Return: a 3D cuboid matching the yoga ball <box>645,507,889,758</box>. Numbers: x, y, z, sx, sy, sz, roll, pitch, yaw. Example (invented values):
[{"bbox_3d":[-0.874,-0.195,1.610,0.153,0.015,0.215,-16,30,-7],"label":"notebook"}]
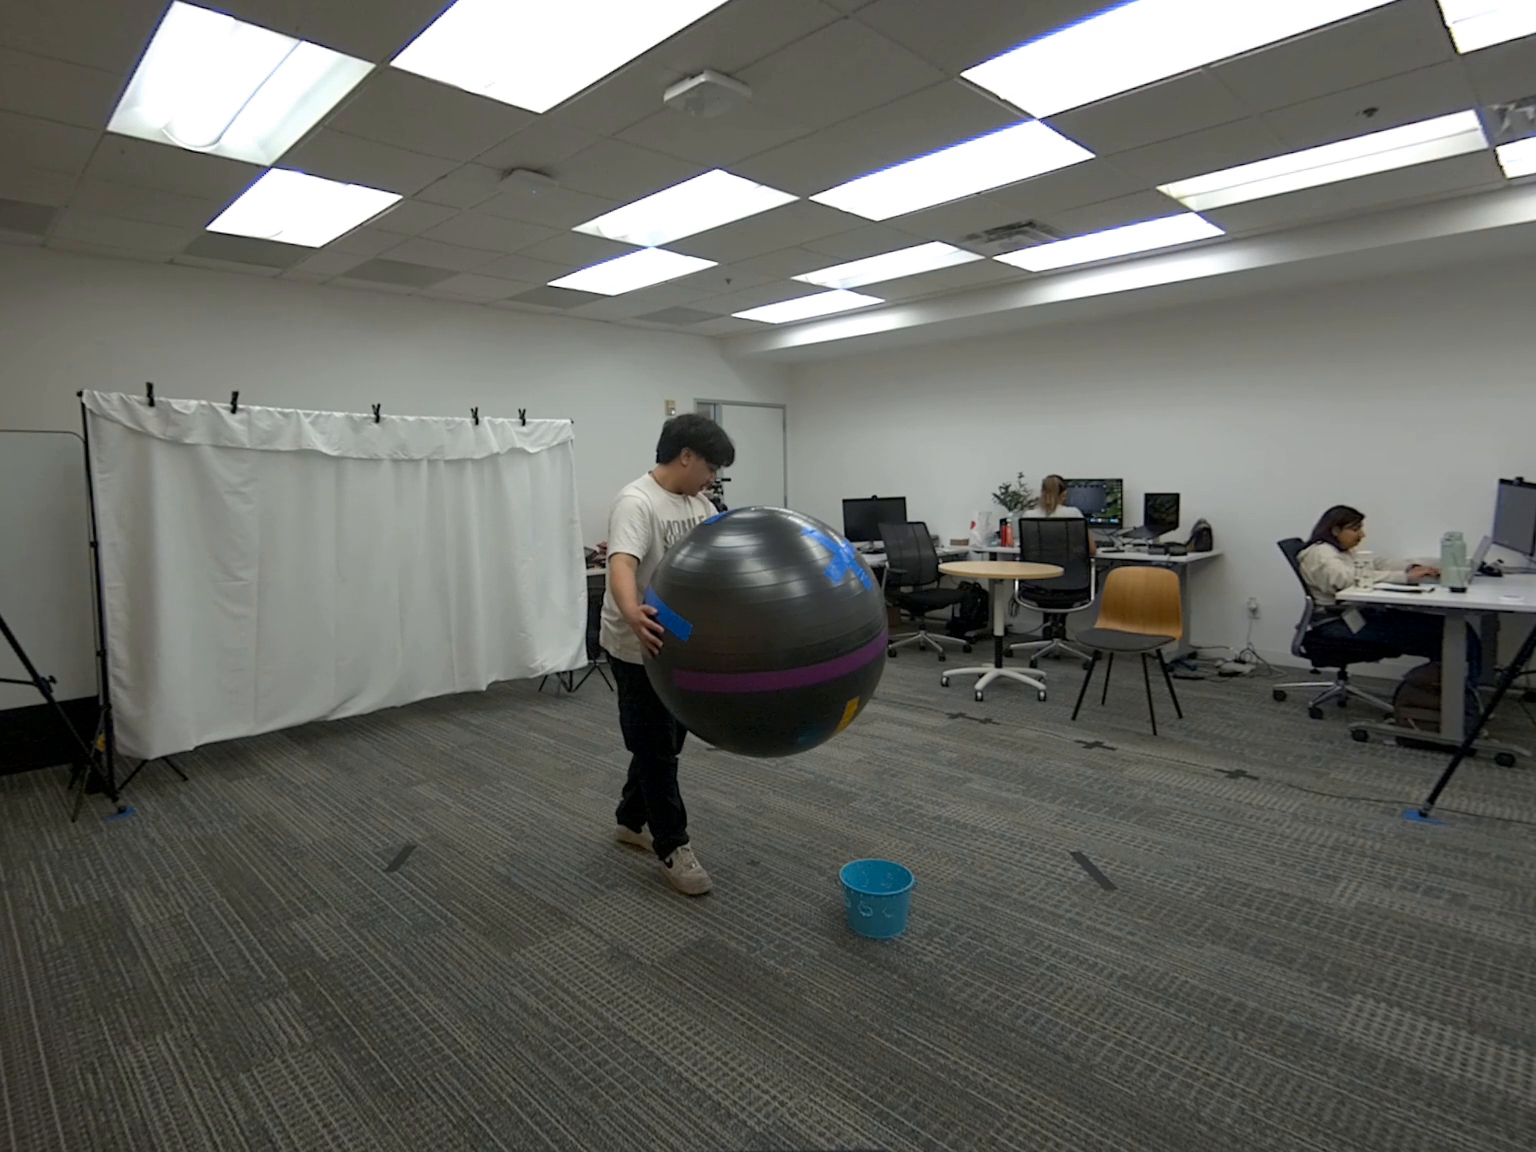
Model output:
[{"bbox_3d":[-0.012,0.168,2.609,0.757,0.755,0.762,-1,5,-2],"label":"yoga ball"}]
